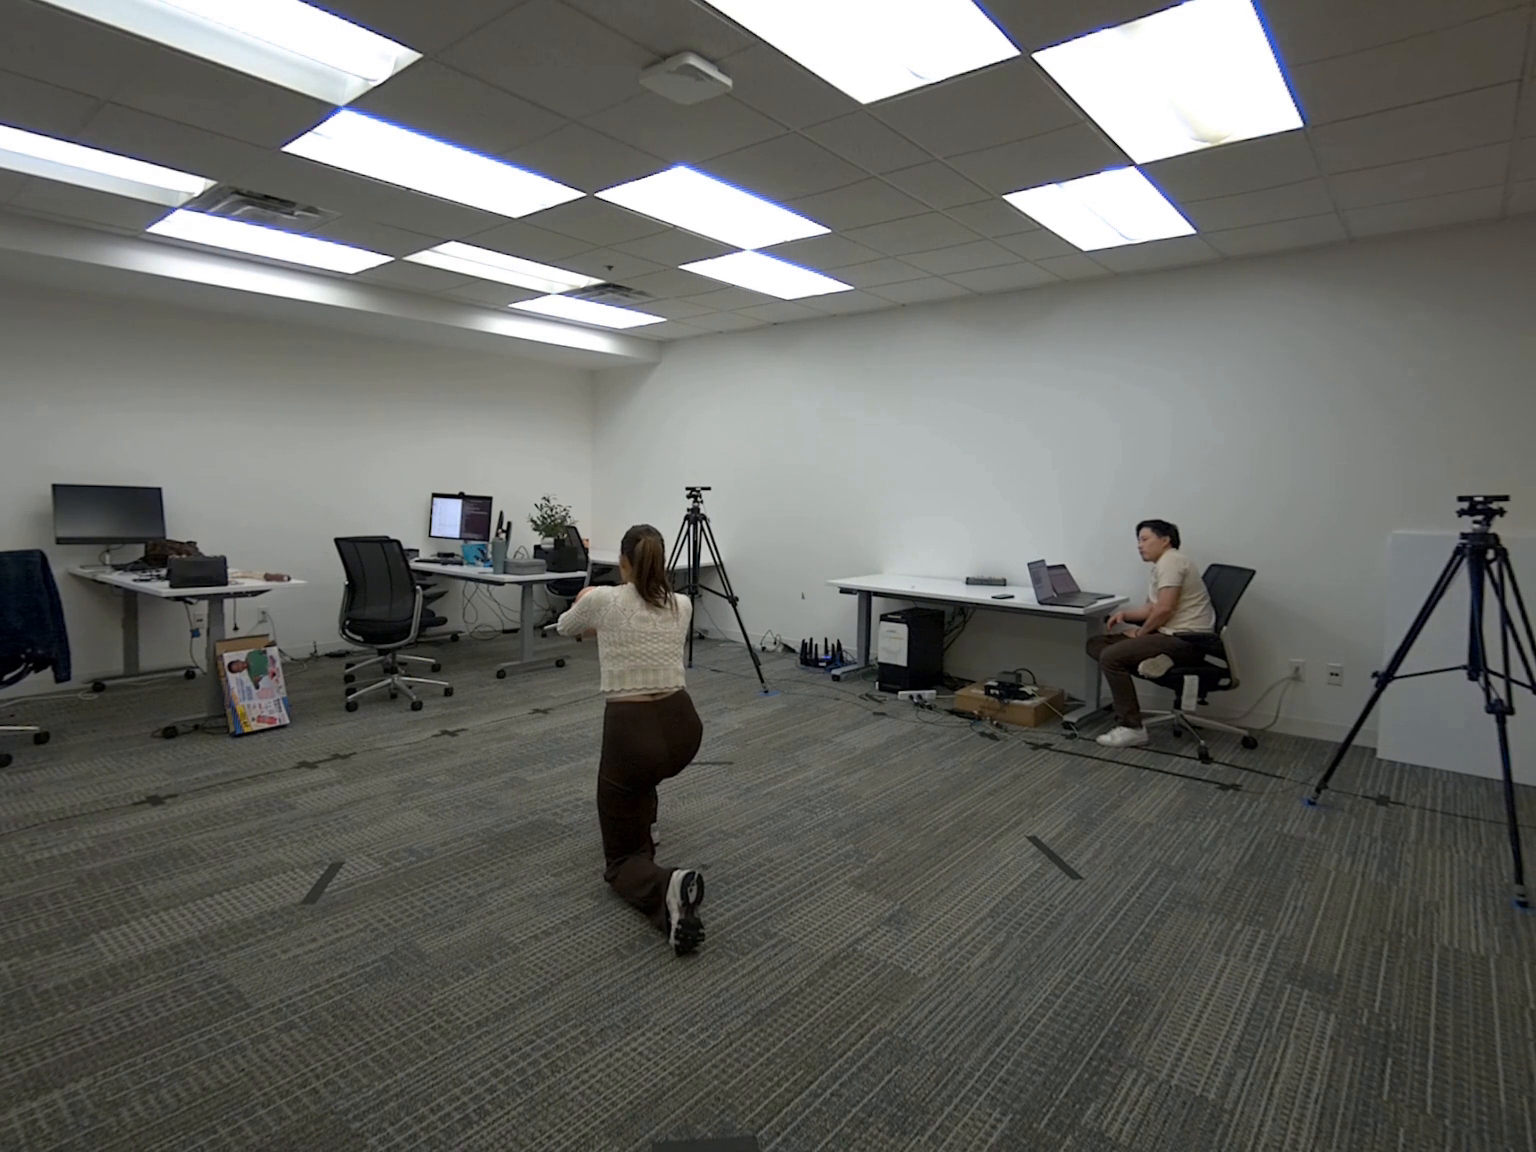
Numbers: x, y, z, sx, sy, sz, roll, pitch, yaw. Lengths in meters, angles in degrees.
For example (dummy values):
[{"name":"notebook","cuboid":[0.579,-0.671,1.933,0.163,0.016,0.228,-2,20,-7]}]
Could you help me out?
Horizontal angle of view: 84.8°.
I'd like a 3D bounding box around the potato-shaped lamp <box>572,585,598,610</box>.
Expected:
[{"name":"potato-shaped lamp","cuboid":[-0.761,0.135,3.673,0.164,0.195,0.174,4,20,-2]}]
